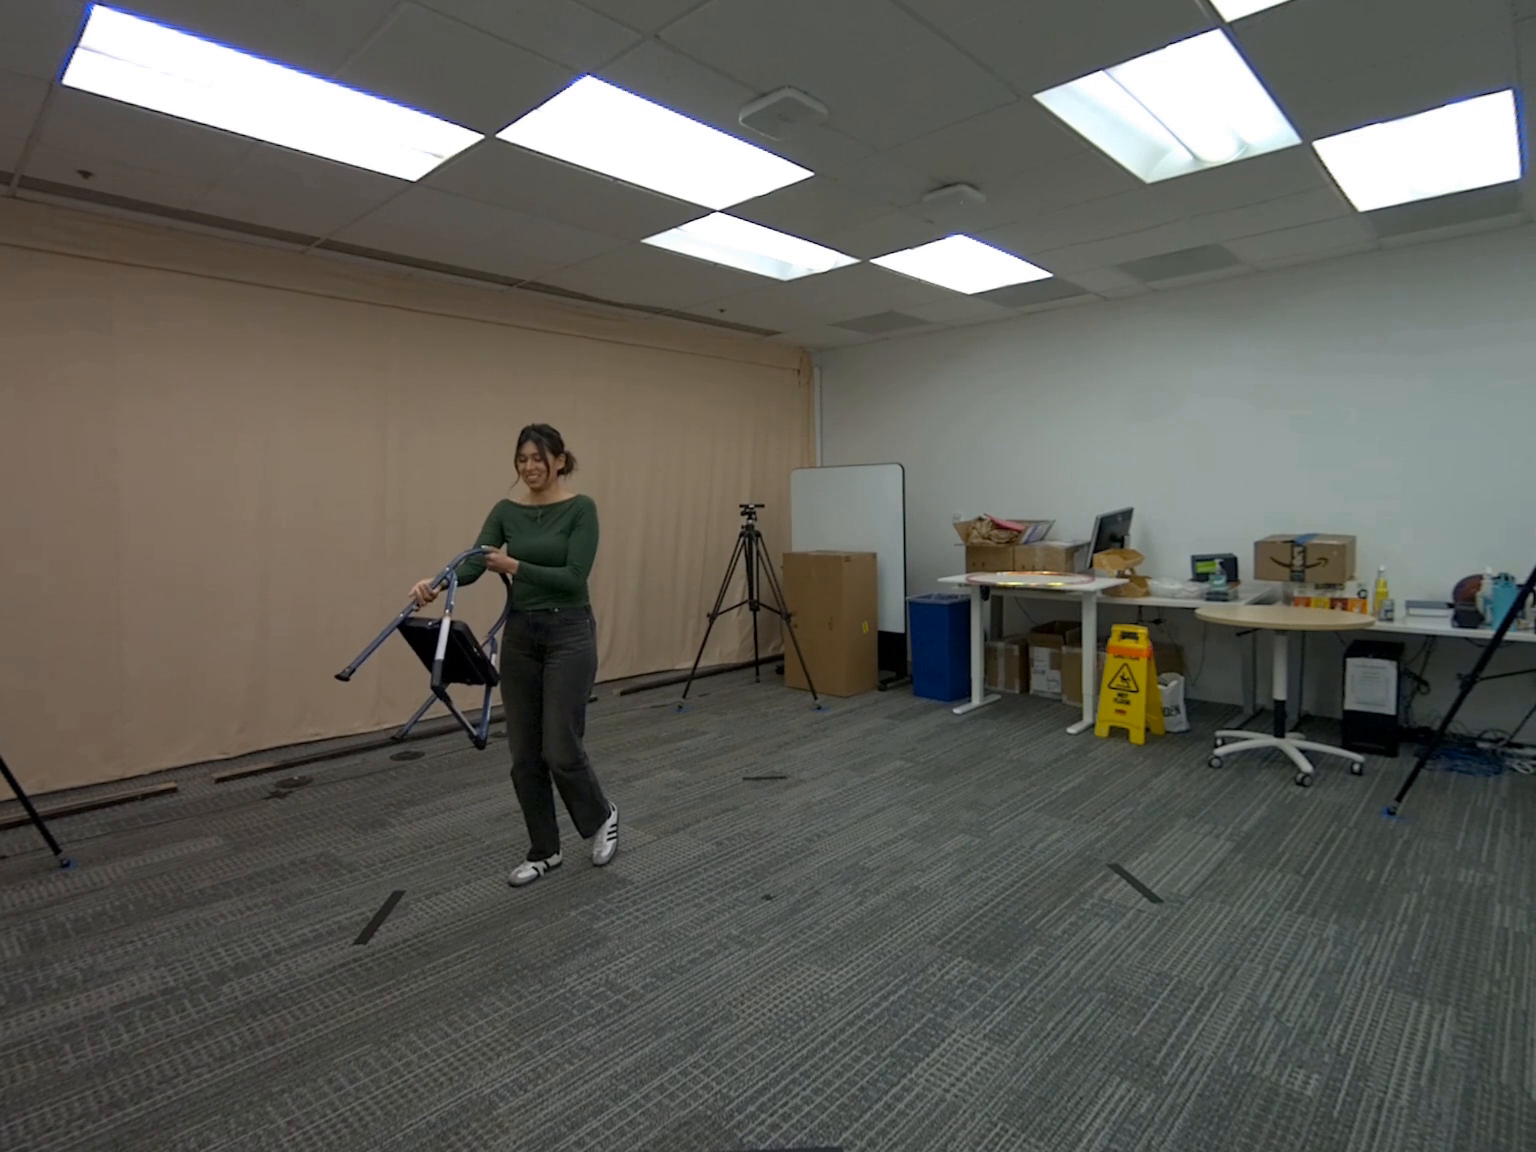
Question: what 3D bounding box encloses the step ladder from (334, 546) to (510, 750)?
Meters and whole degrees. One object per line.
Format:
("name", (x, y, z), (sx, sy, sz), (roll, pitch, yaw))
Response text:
("step ladder", (-1.076, 0.207, 2.858), (0.354, 0.612, 0.420), (4, -38, 11))
